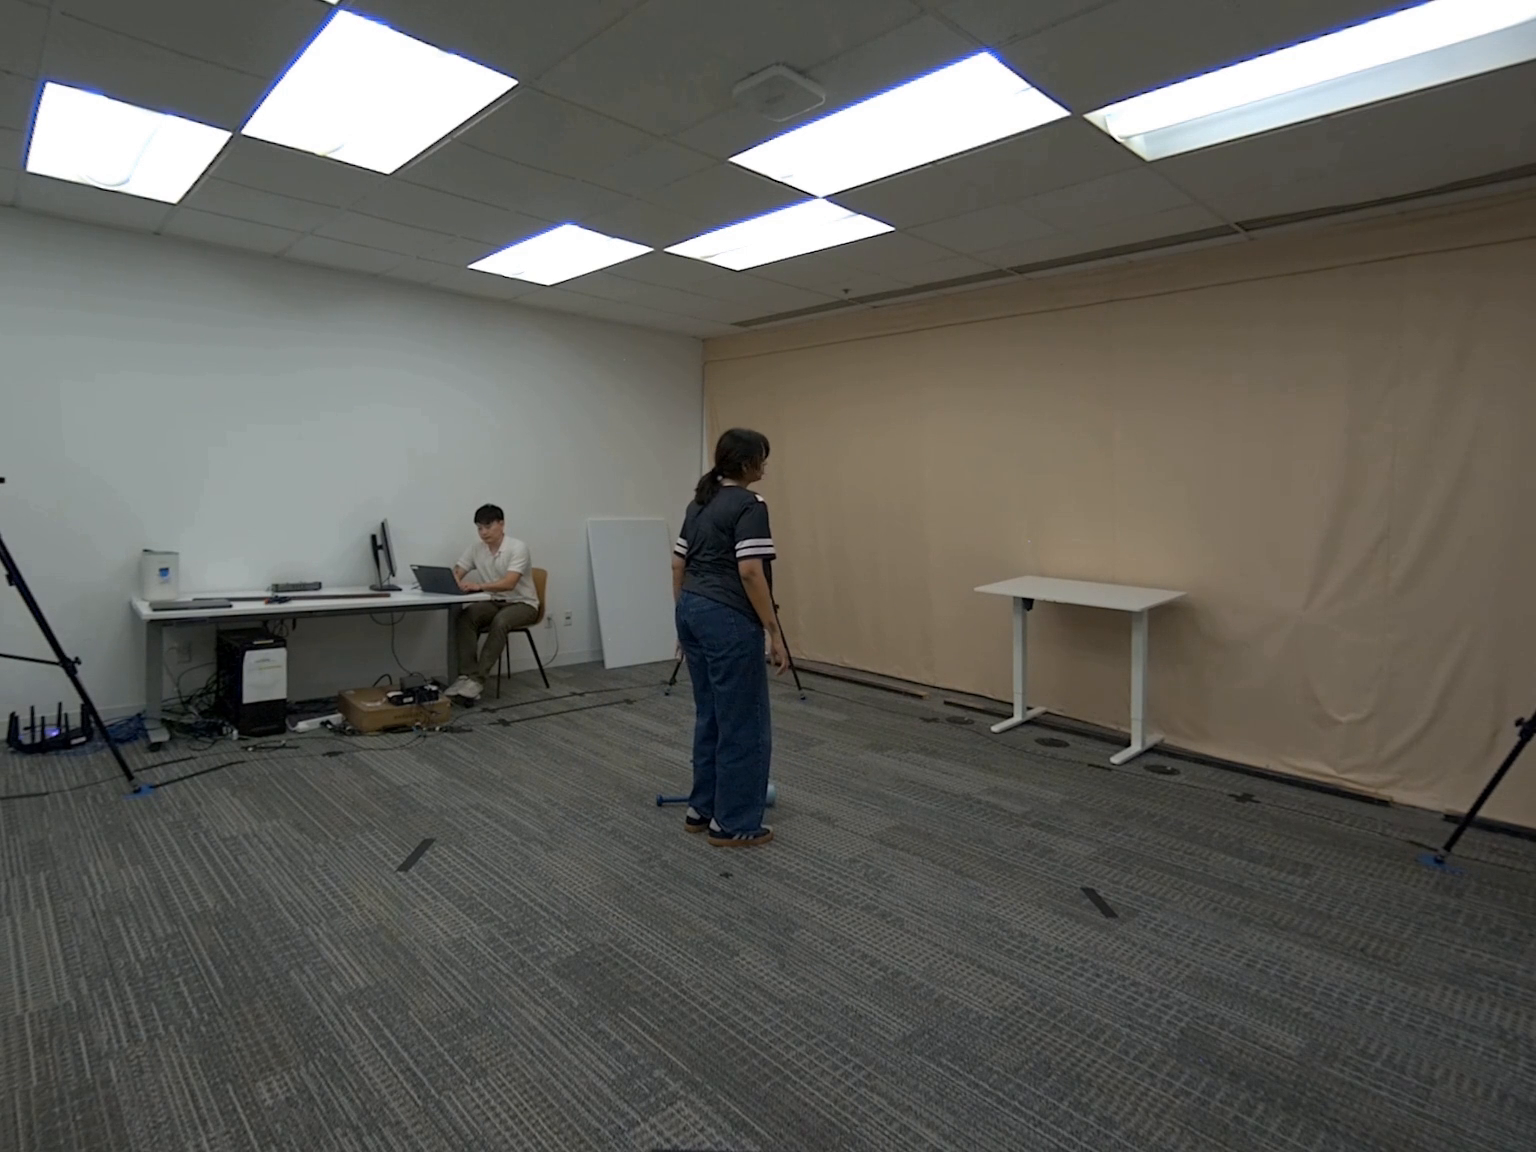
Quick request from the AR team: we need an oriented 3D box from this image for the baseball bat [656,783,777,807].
[{"bbox_3d":[-0.238,1.008,3.800,0.541,0.089,0.090,-2,5,-5],"label":"baseball bat"}]
